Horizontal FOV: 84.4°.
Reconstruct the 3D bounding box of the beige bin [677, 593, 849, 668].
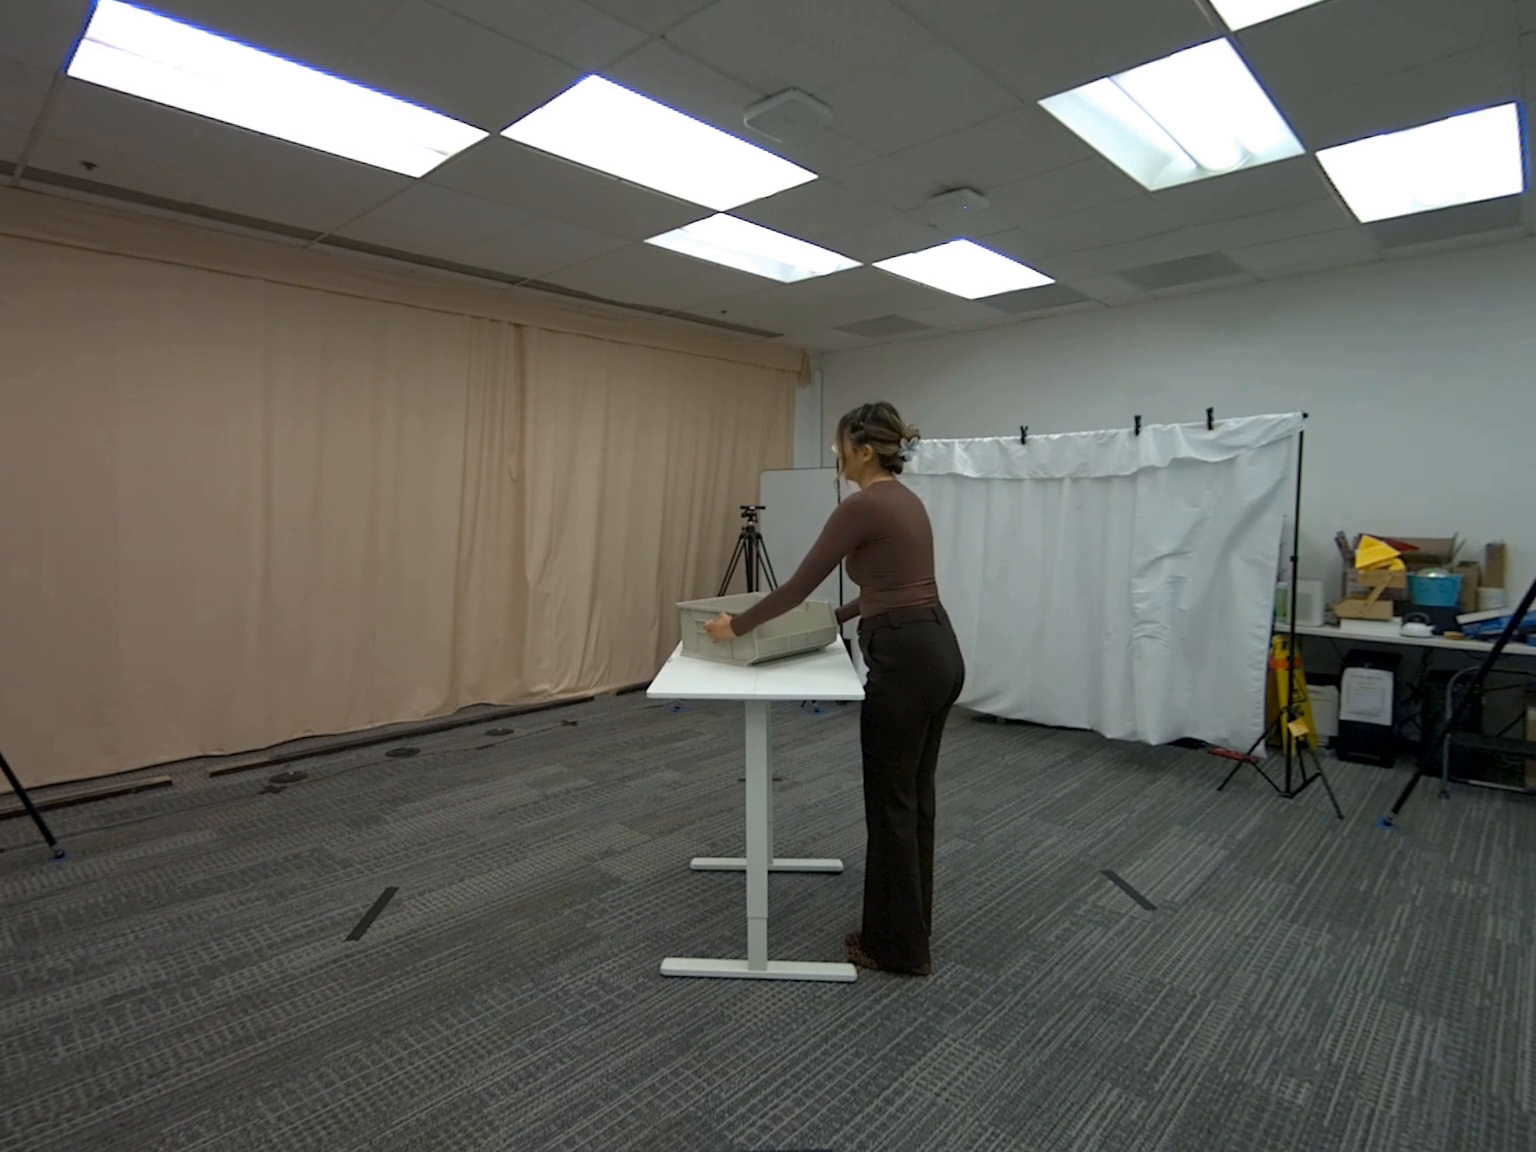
[{"bbox_3d":[-0.035,0.182,2.892,0.390,0.188,0.410,3,7,44],"label":"beige bin"}]
